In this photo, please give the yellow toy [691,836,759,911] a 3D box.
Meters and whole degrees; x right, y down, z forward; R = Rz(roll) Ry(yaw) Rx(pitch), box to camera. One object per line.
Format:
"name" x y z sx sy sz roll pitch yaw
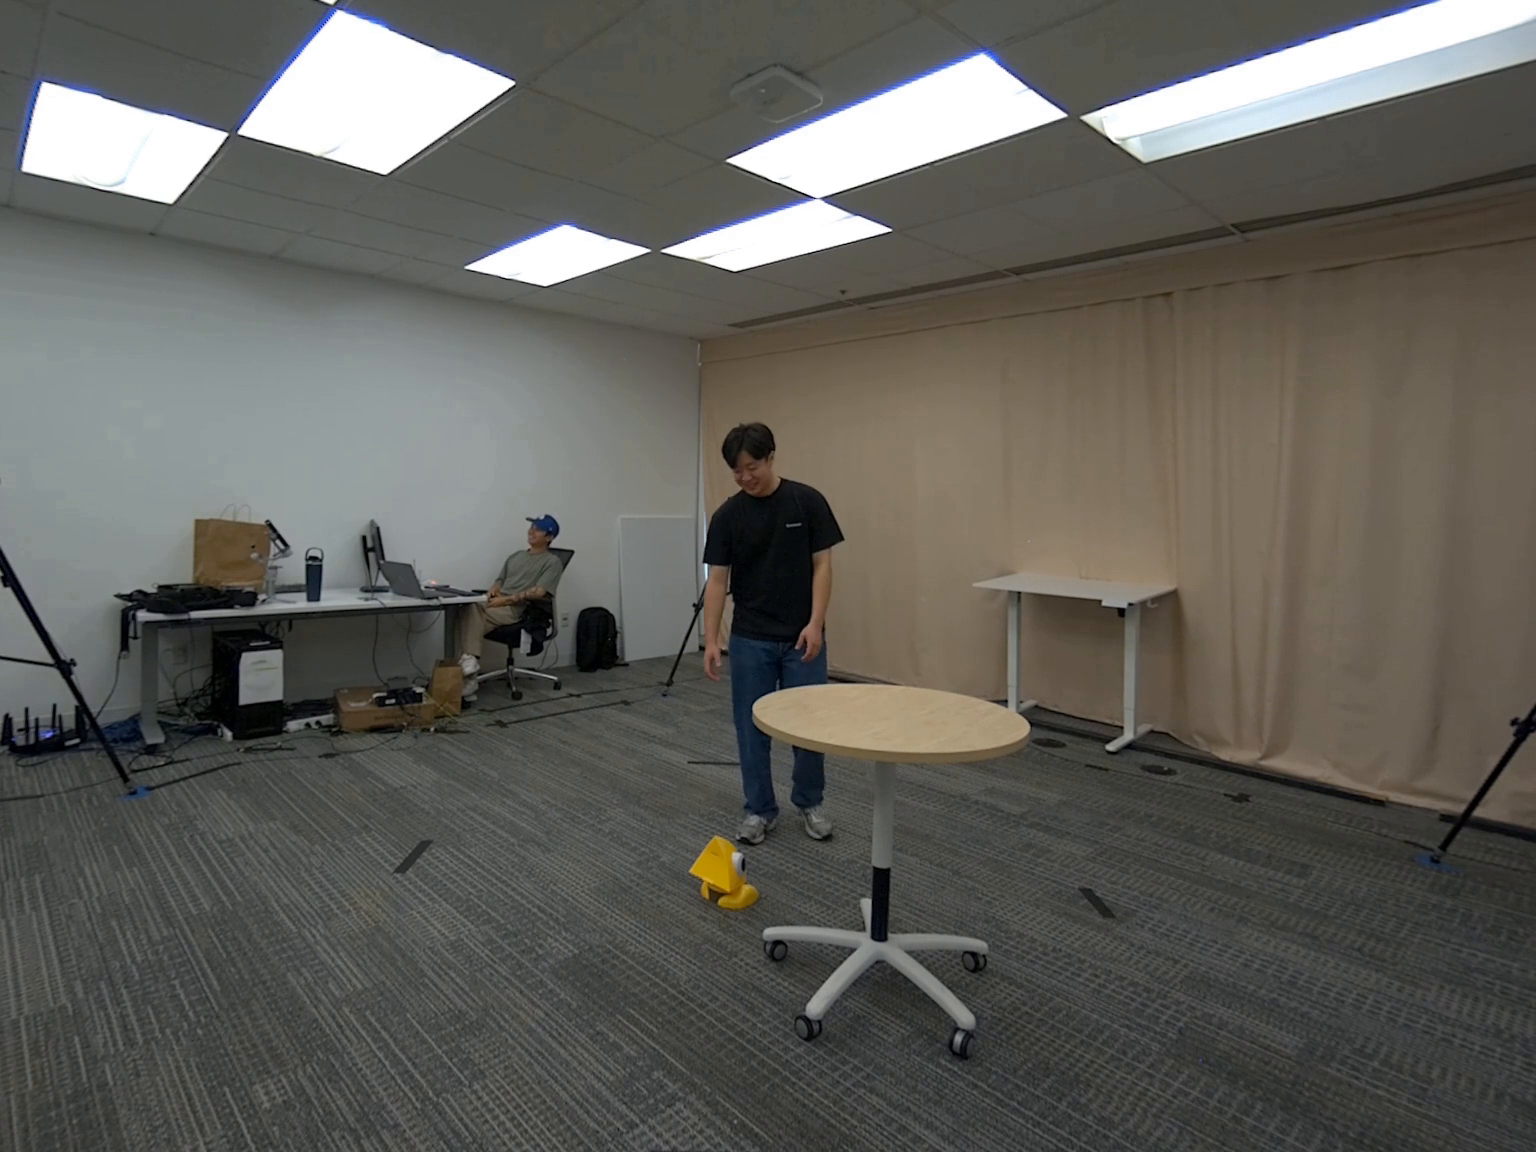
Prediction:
"yellow toy" -0.149 1.010 2.943 0.189 0.230 0.210 -3 6 -44
